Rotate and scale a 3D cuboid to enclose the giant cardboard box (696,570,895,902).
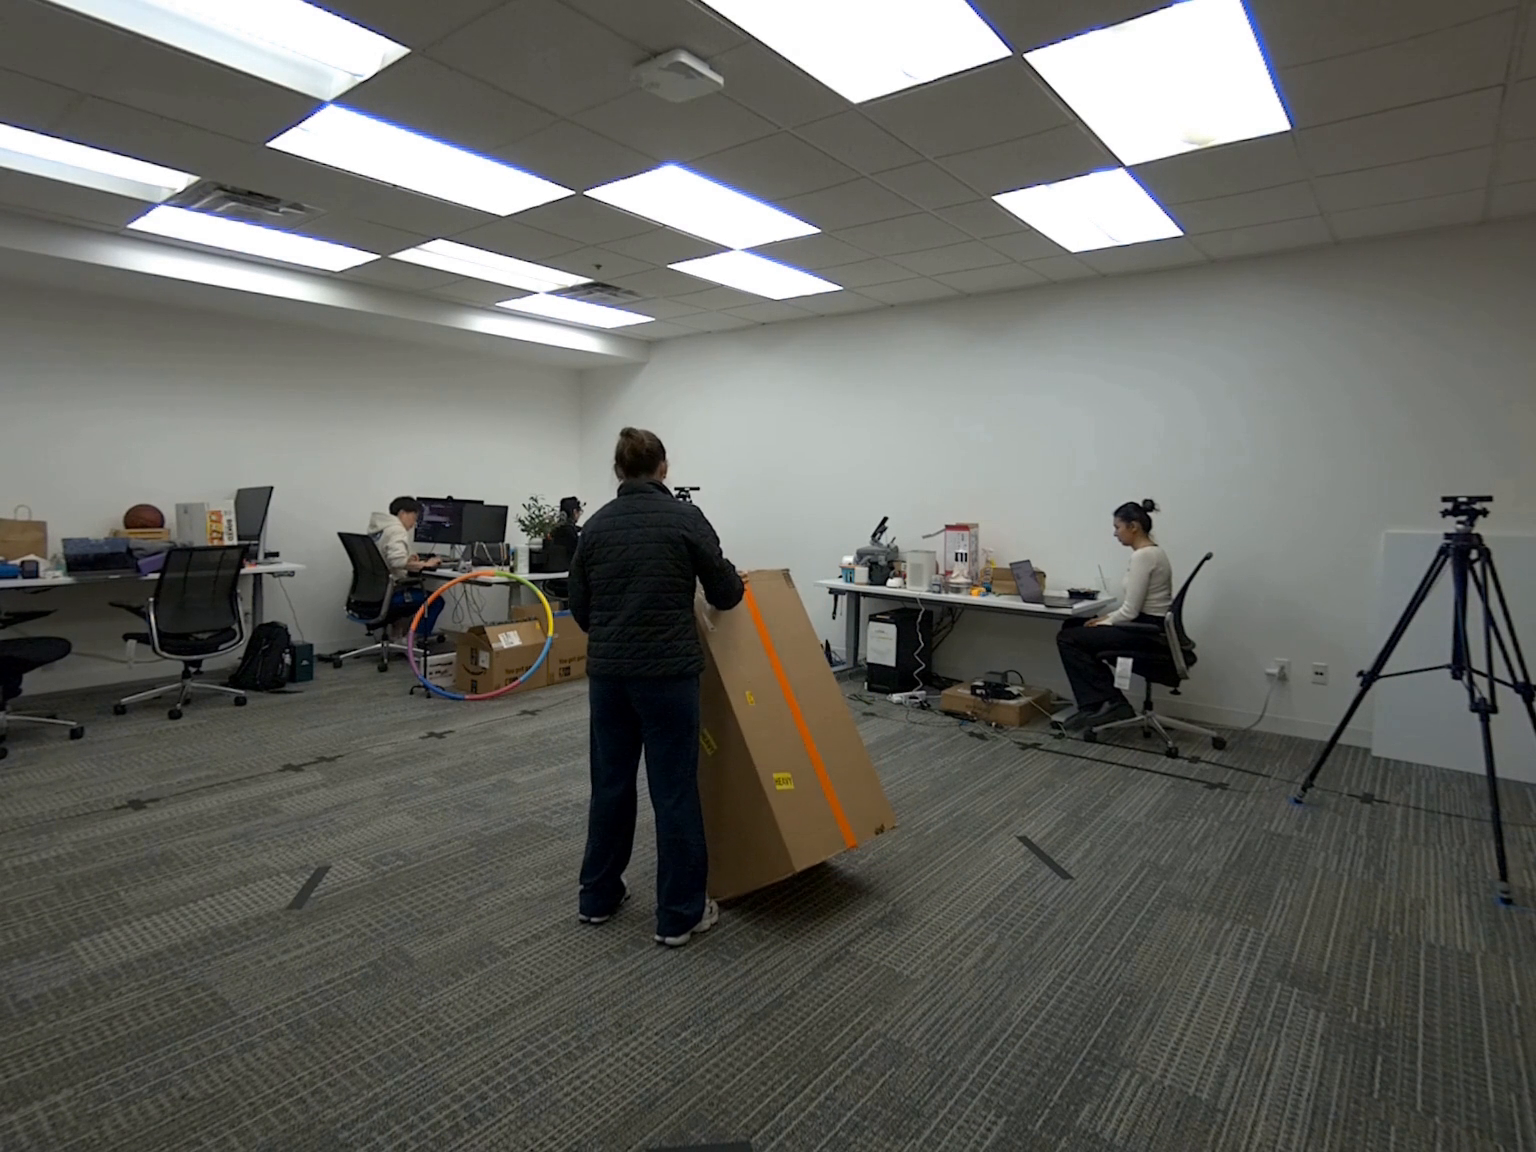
[{"bbox_3d":[-0.033,0.527,3.088,0.560,1.051,0.429,-3,-28,-46],"label":"giant cardboard box"}]
